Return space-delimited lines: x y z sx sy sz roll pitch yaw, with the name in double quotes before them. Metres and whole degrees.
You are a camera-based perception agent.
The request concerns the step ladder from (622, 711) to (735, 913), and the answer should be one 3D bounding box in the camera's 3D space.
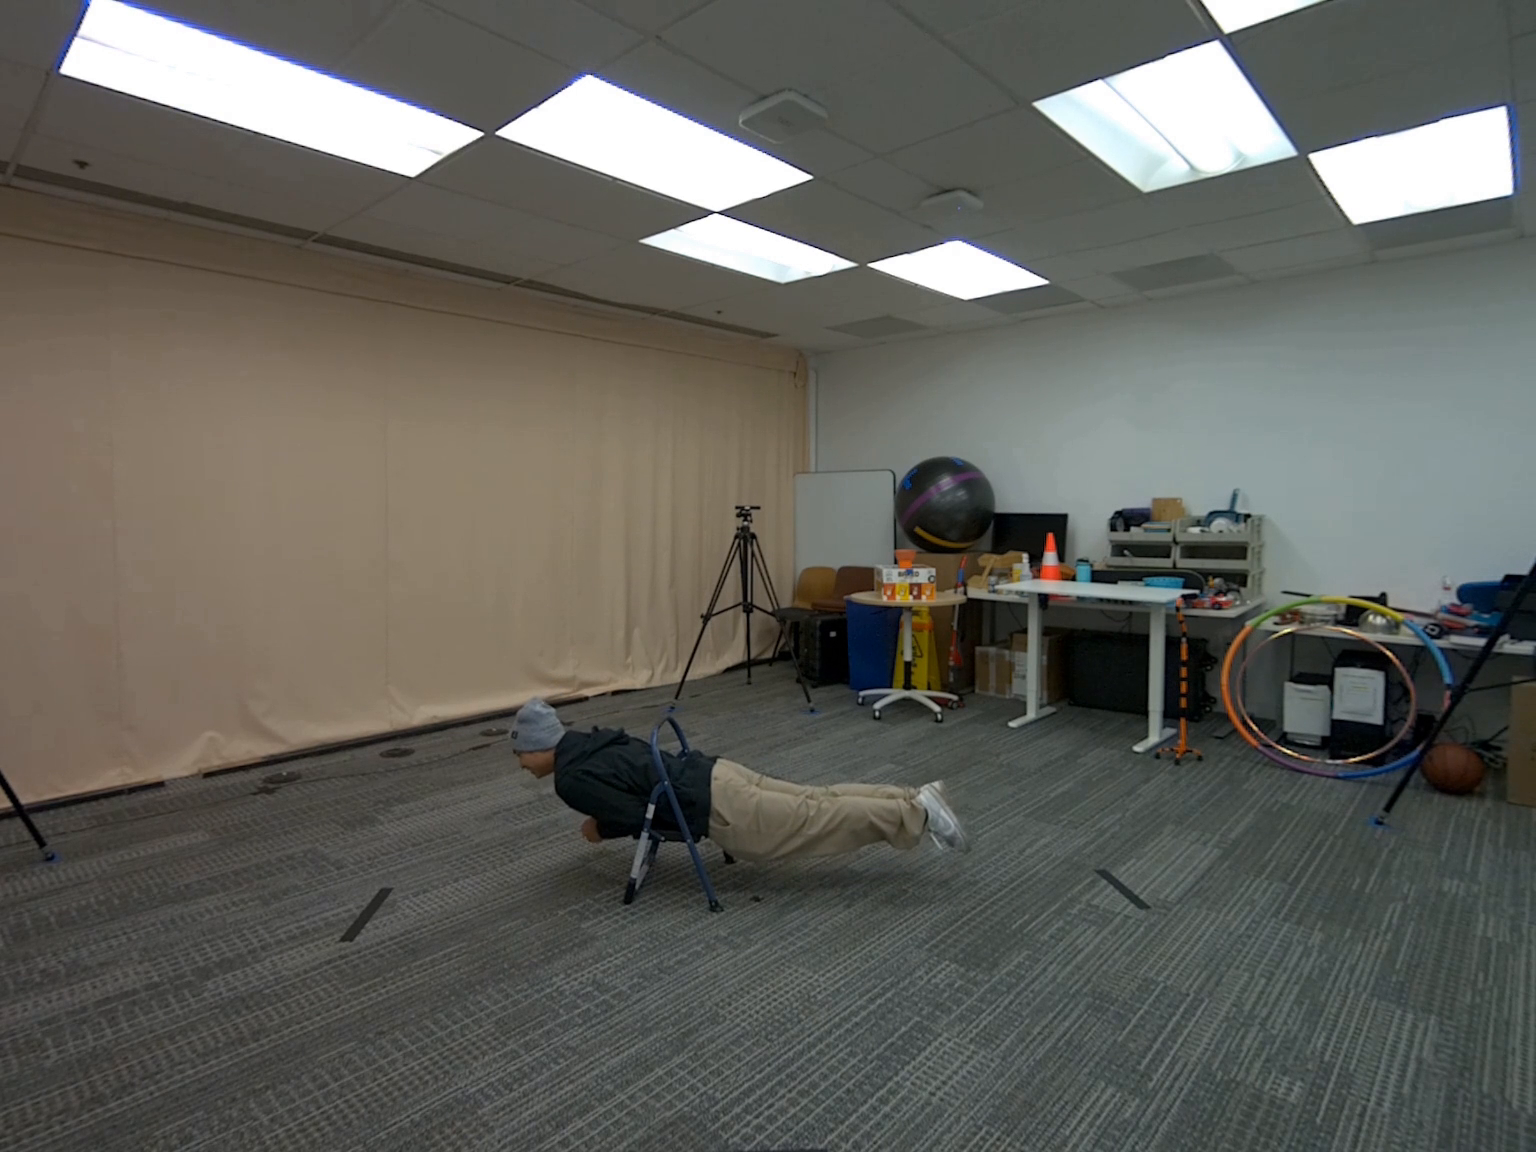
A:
"step ladder" -0.321 0.842 3.104 0.352 0.605 0.429 0 4 5
